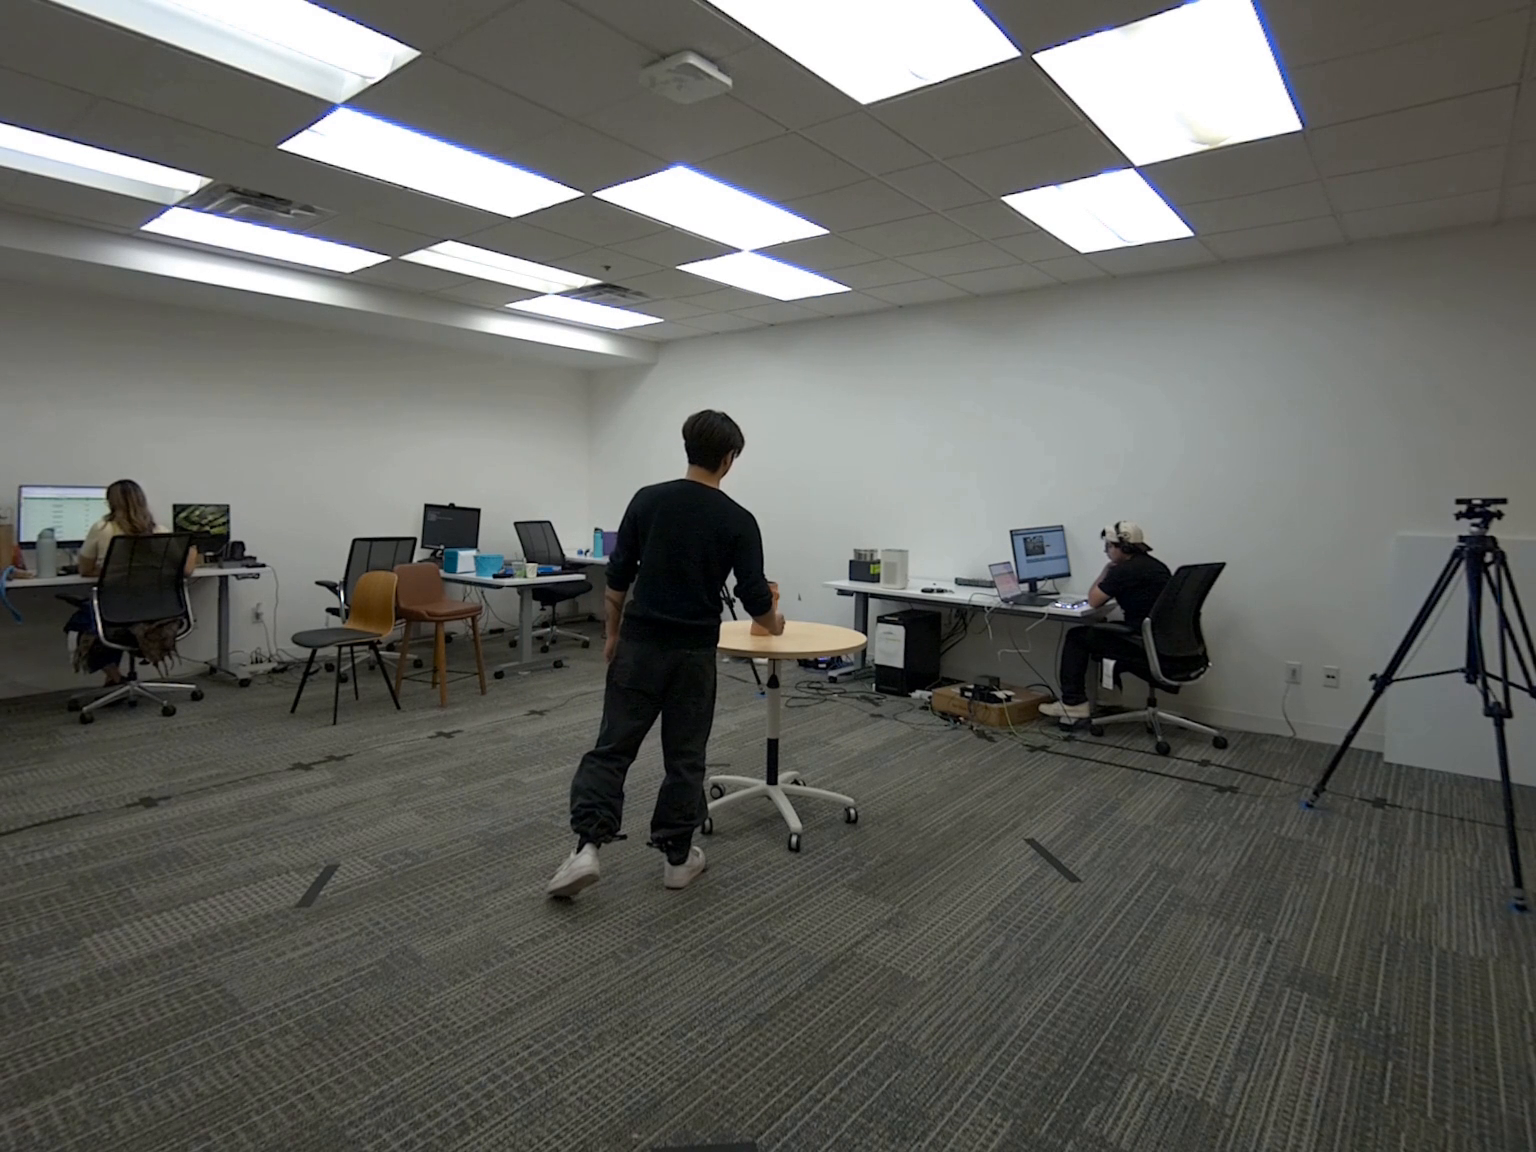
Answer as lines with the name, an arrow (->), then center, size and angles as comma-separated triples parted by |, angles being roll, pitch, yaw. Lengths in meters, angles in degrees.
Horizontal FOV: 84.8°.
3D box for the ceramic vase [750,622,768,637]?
ceramic vase -> -0.032, 0.132, 3.594 | 0.134, 0.219, 0.160 | 0, 5, -7
